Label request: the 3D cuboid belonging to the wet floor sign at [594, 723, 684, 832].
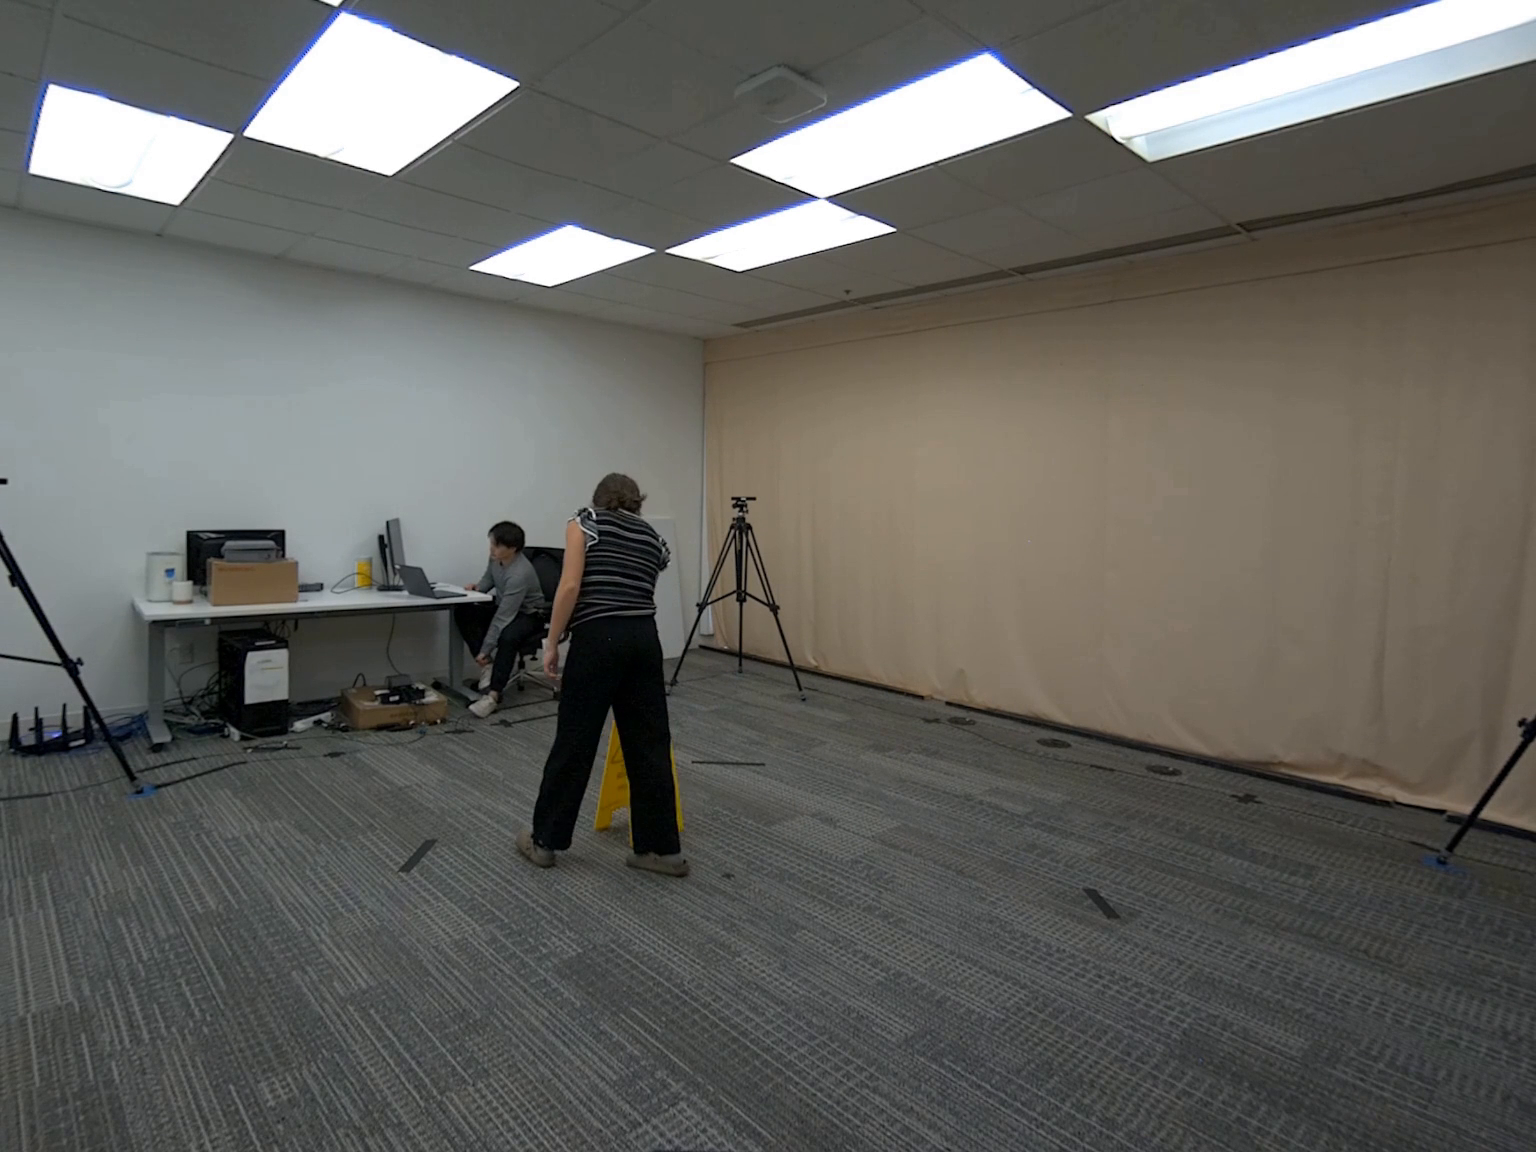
[{"bbox_3d":[-0.536,0.744,3.493,0.297,0.645,0.276,2,3,42],"label":"wet floor sign"}]
